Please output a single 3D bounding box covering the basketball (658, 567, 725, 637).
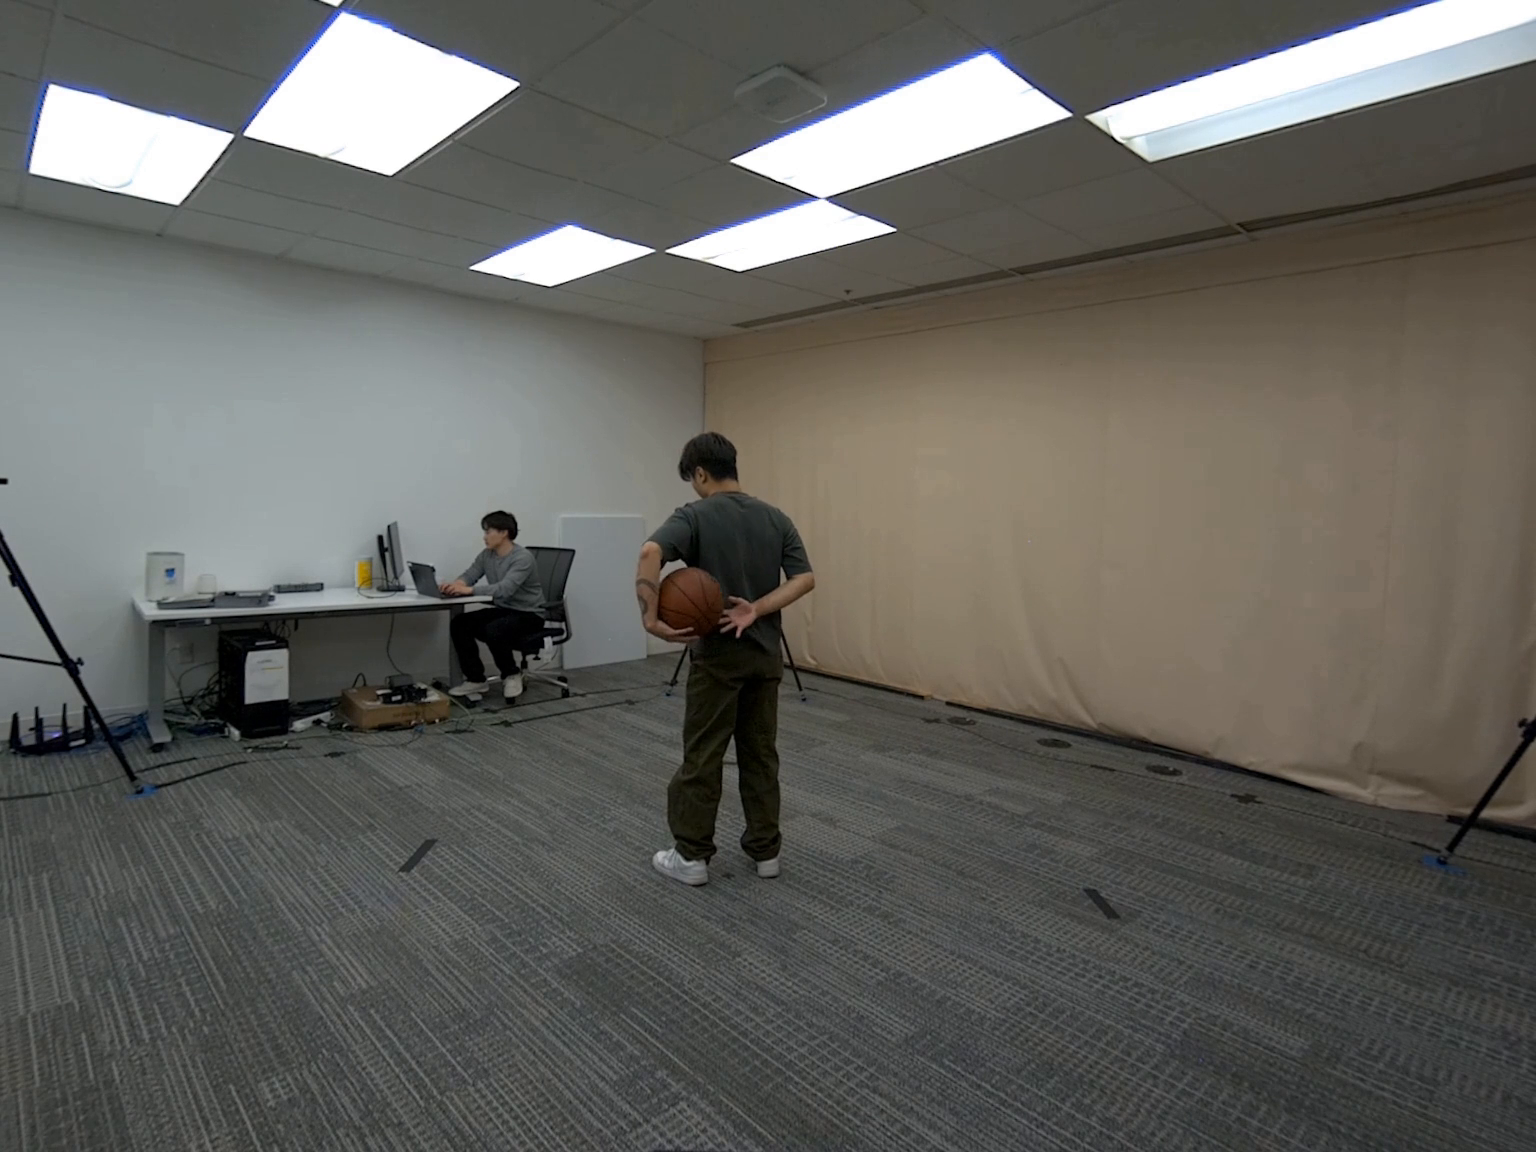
[{"bbox_3d":[-0.281,0.099,2.846,0.236,0.235,0.237,1,4,-1],"label":"basketball"}]
